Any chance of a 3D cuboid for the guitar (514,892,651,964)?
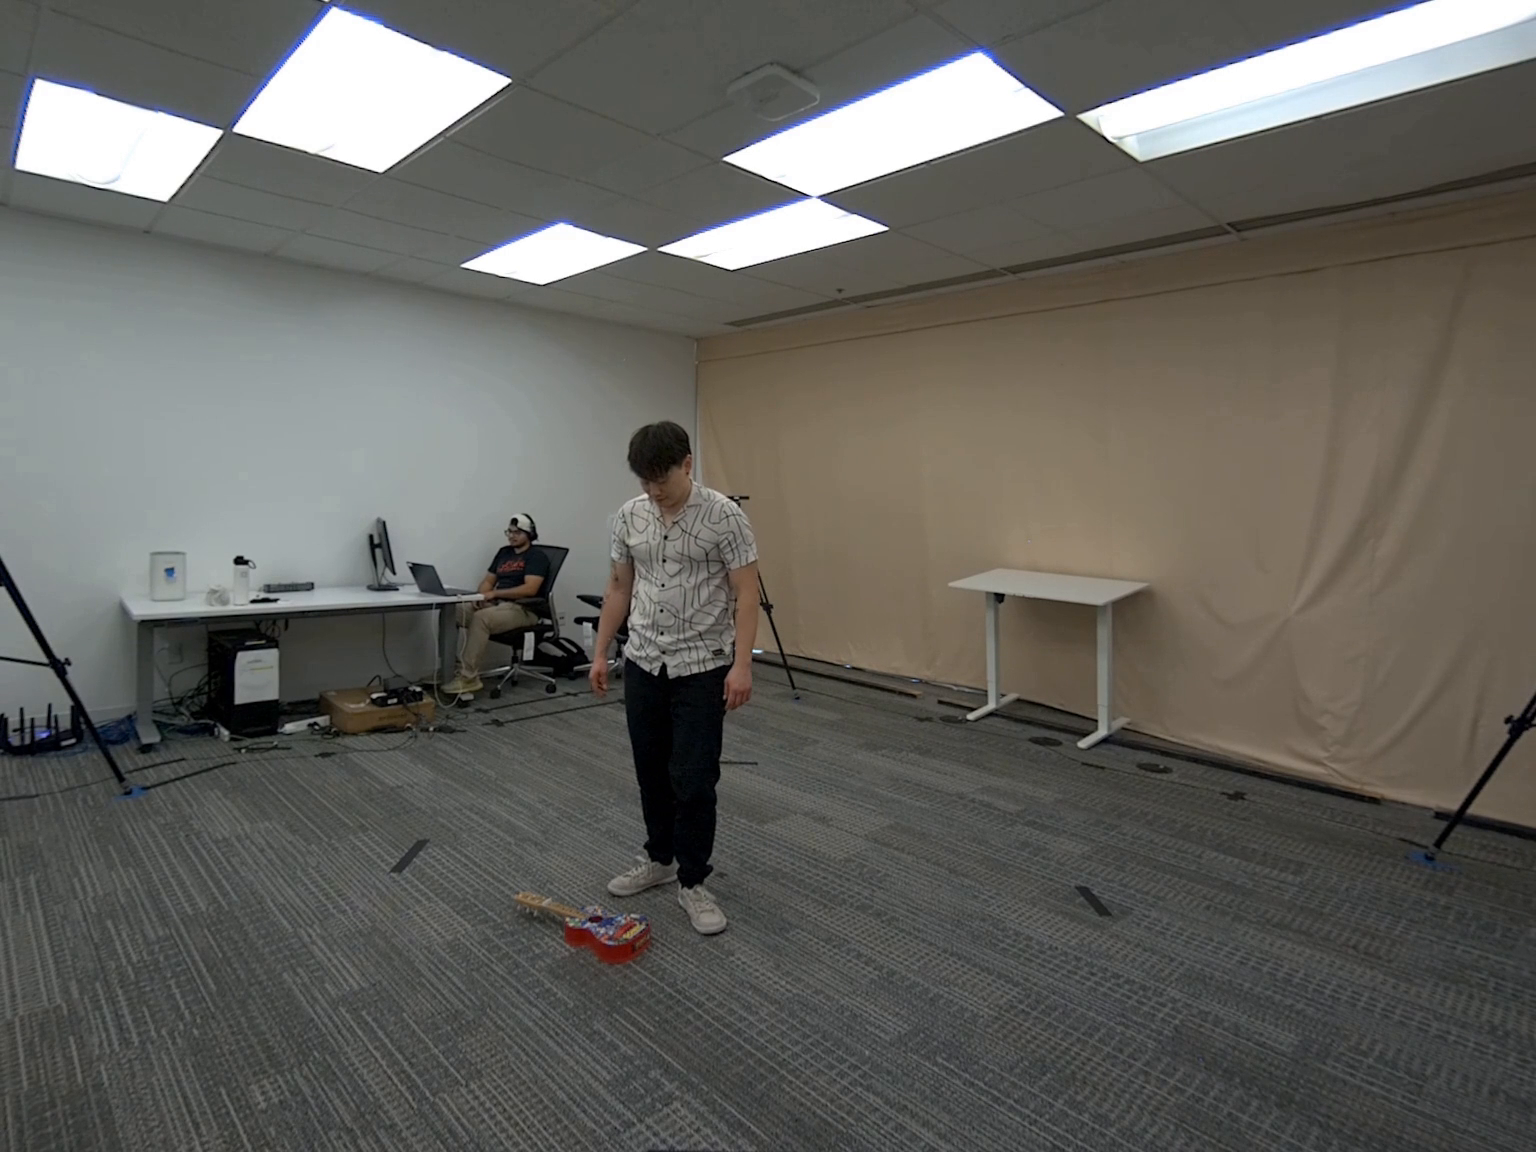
[{"bbox_3d":[-0.603,1.098,2.696,0.510,0.070,0.189,5,7,35],"label":"guitar"}]
